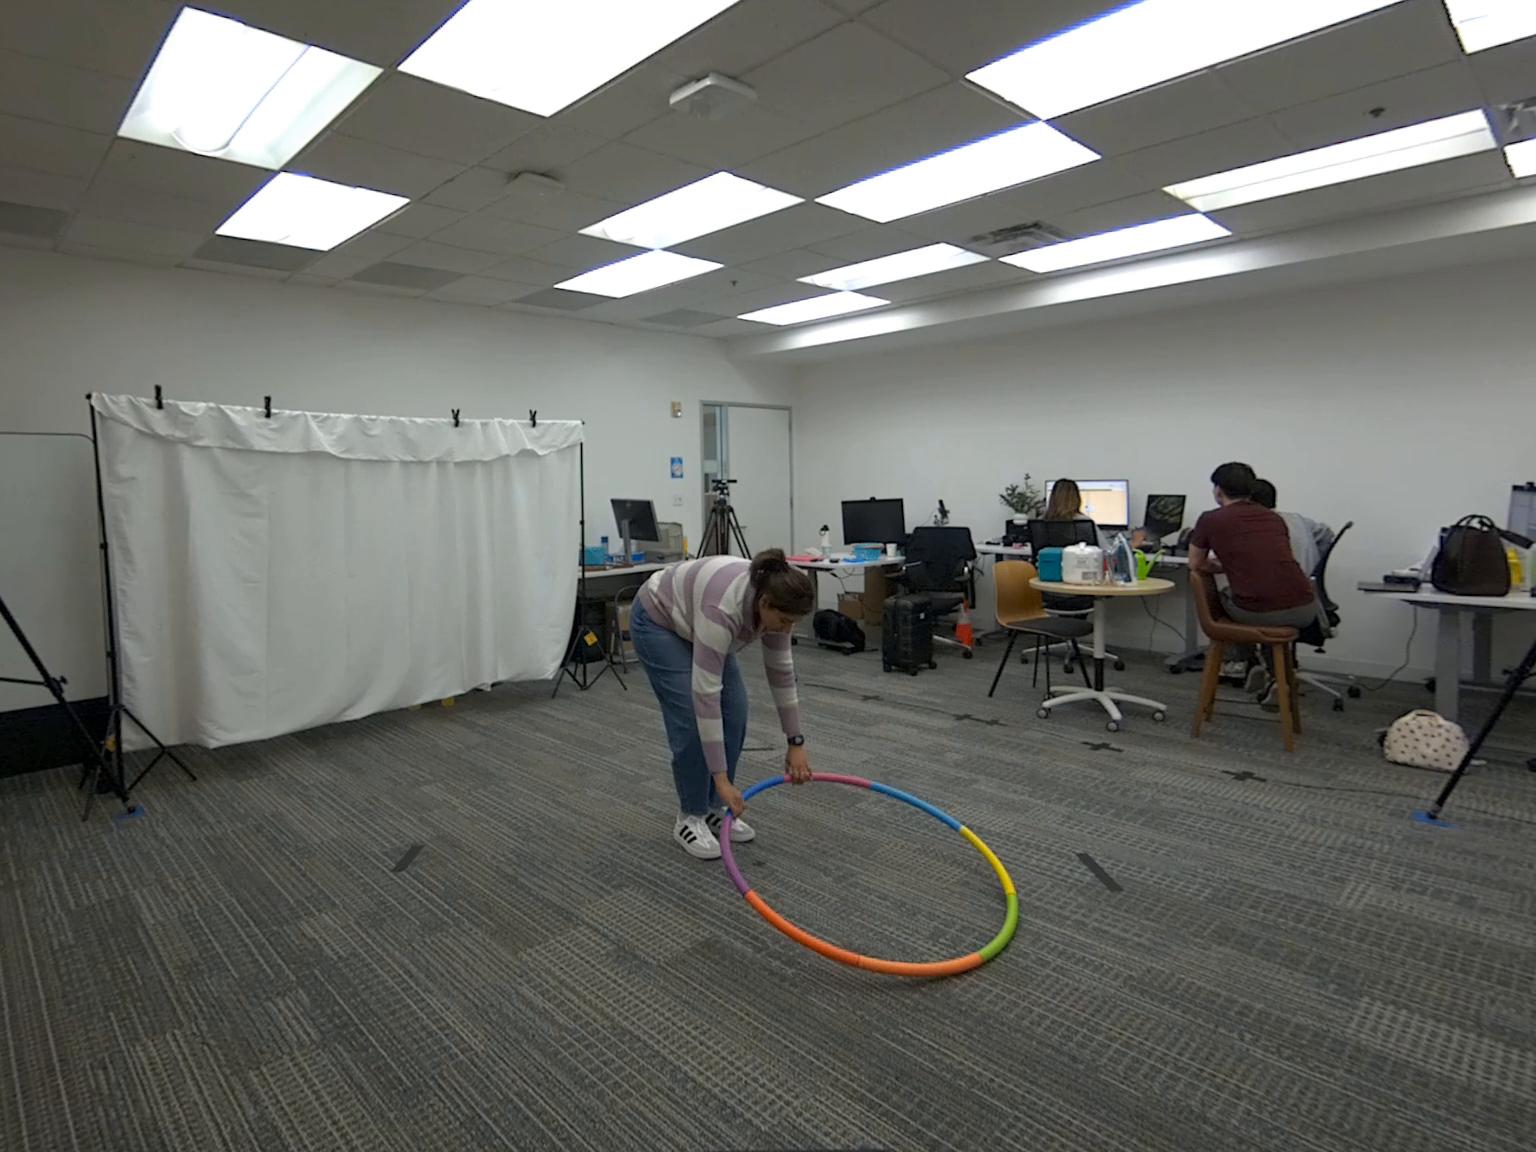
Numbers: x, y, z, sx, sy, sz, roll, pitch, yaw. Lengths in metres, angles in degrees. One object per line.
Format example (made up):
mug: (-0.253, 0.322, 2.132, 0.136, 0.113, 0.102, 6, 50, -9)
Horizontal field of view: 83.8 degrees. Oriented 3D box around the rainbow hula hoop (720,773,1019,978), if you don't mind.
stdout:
rainbow hula hoop: (0.325, 0.922, 2.815, 0.975, 0.035, 0.994, 8, 17, -4)
